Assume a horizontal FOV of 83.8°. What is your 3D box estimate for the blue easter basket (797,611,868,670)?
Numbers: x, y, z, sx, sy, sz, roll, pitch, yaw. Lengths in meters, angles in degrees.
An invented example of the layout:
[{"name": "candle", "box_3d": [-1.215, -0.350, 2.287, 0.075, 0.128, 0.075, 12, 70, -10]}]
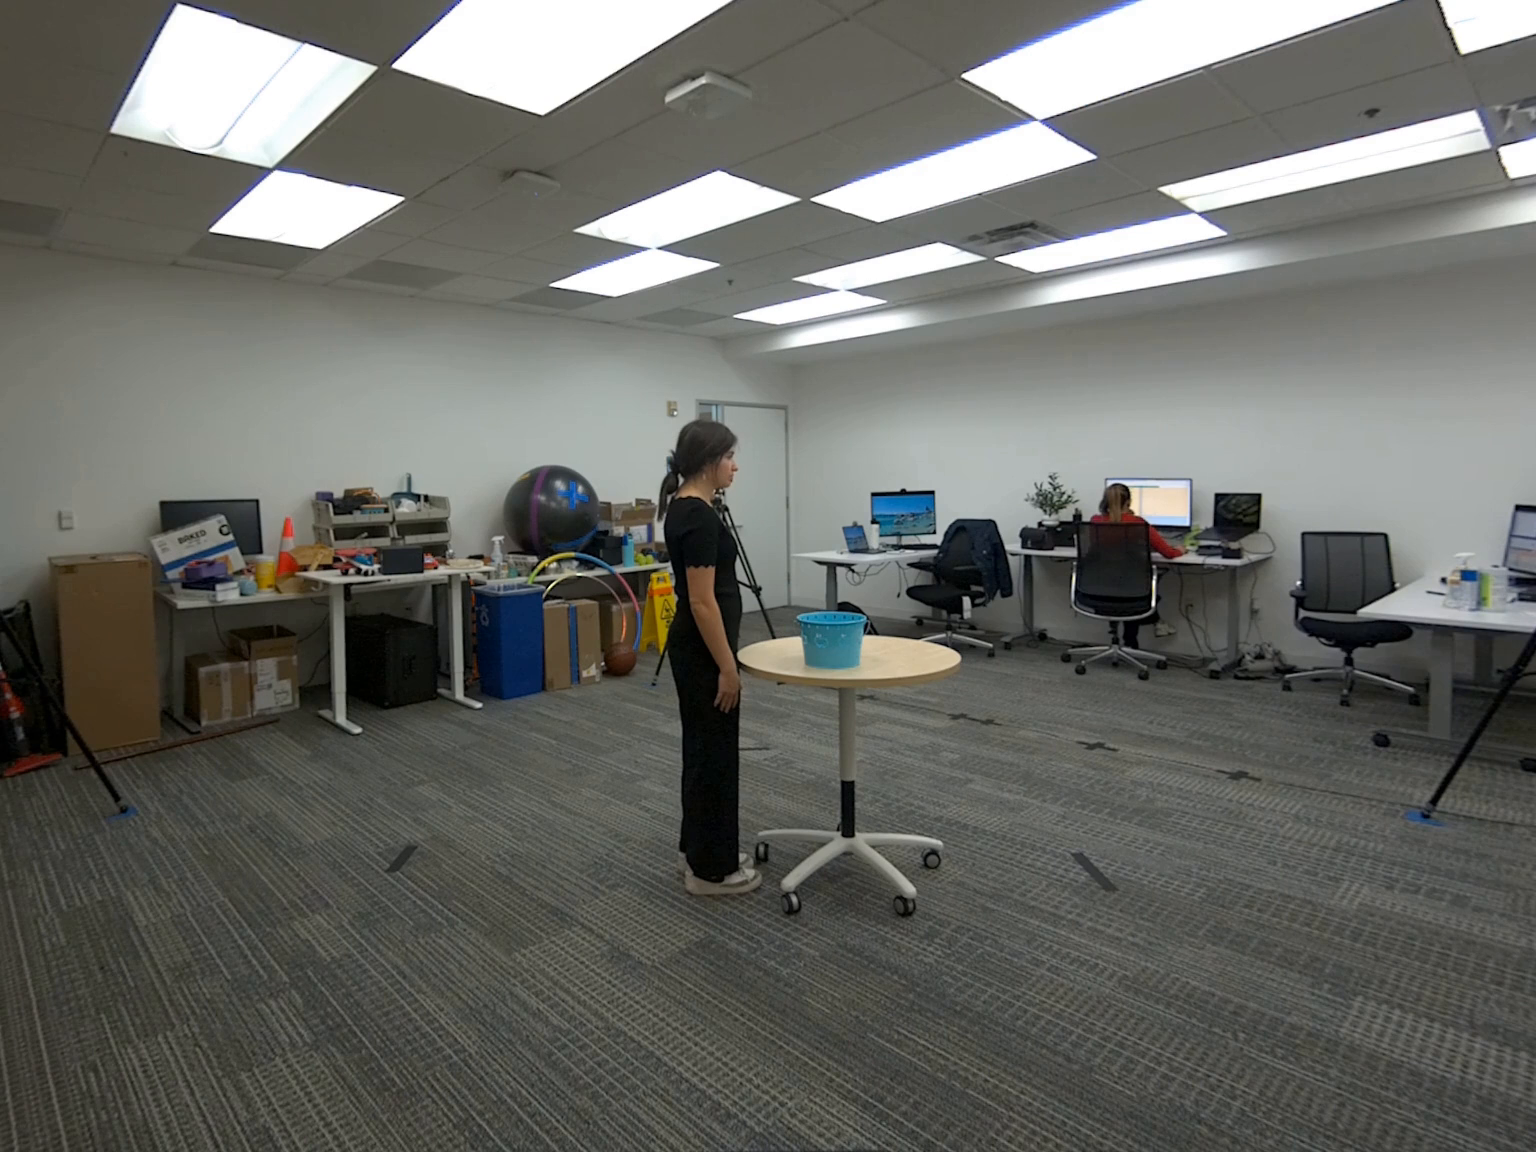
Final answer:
[{"name": "blue easter basket", "box_3d": [0.216, 0.209, 2.819, 0.243, 0.155, 0.245, -1, 6, -2]}]
